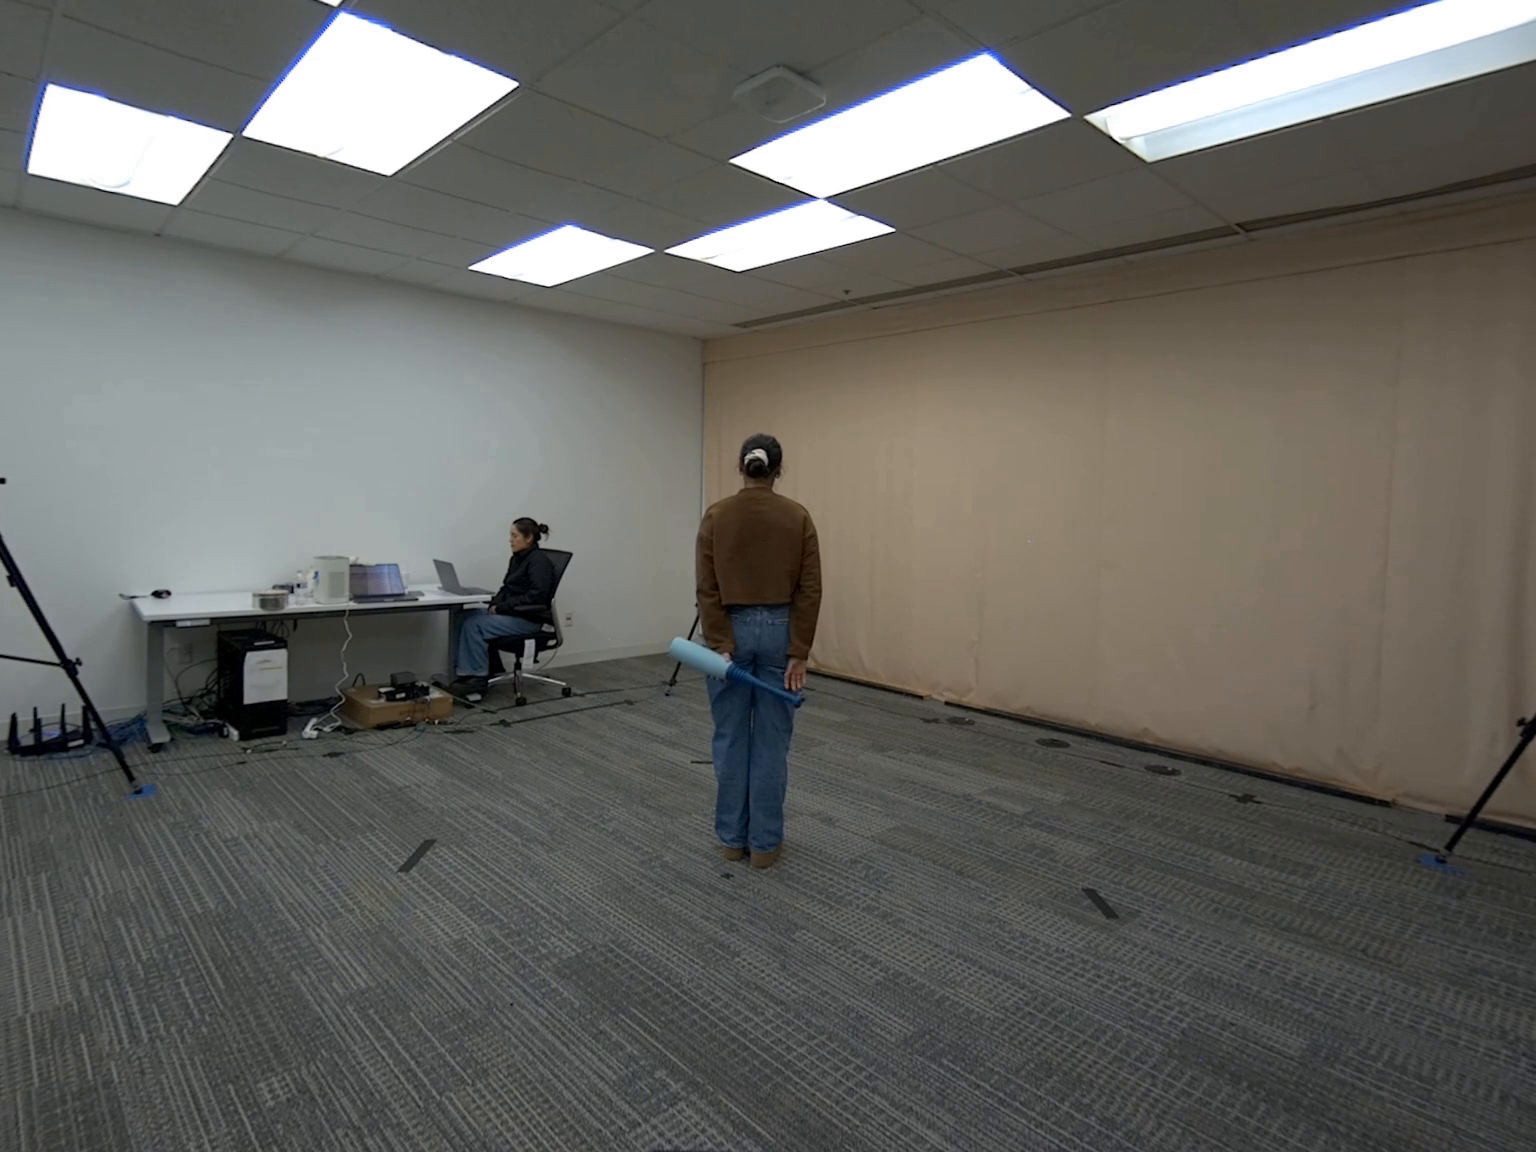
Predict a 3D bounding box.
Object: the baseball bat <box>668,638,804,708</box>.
[{"bbox_3d":[-0.130,0.355,3.072,0.554,0.088,0.088,20,11,21],"label":"baseball bat"}]
